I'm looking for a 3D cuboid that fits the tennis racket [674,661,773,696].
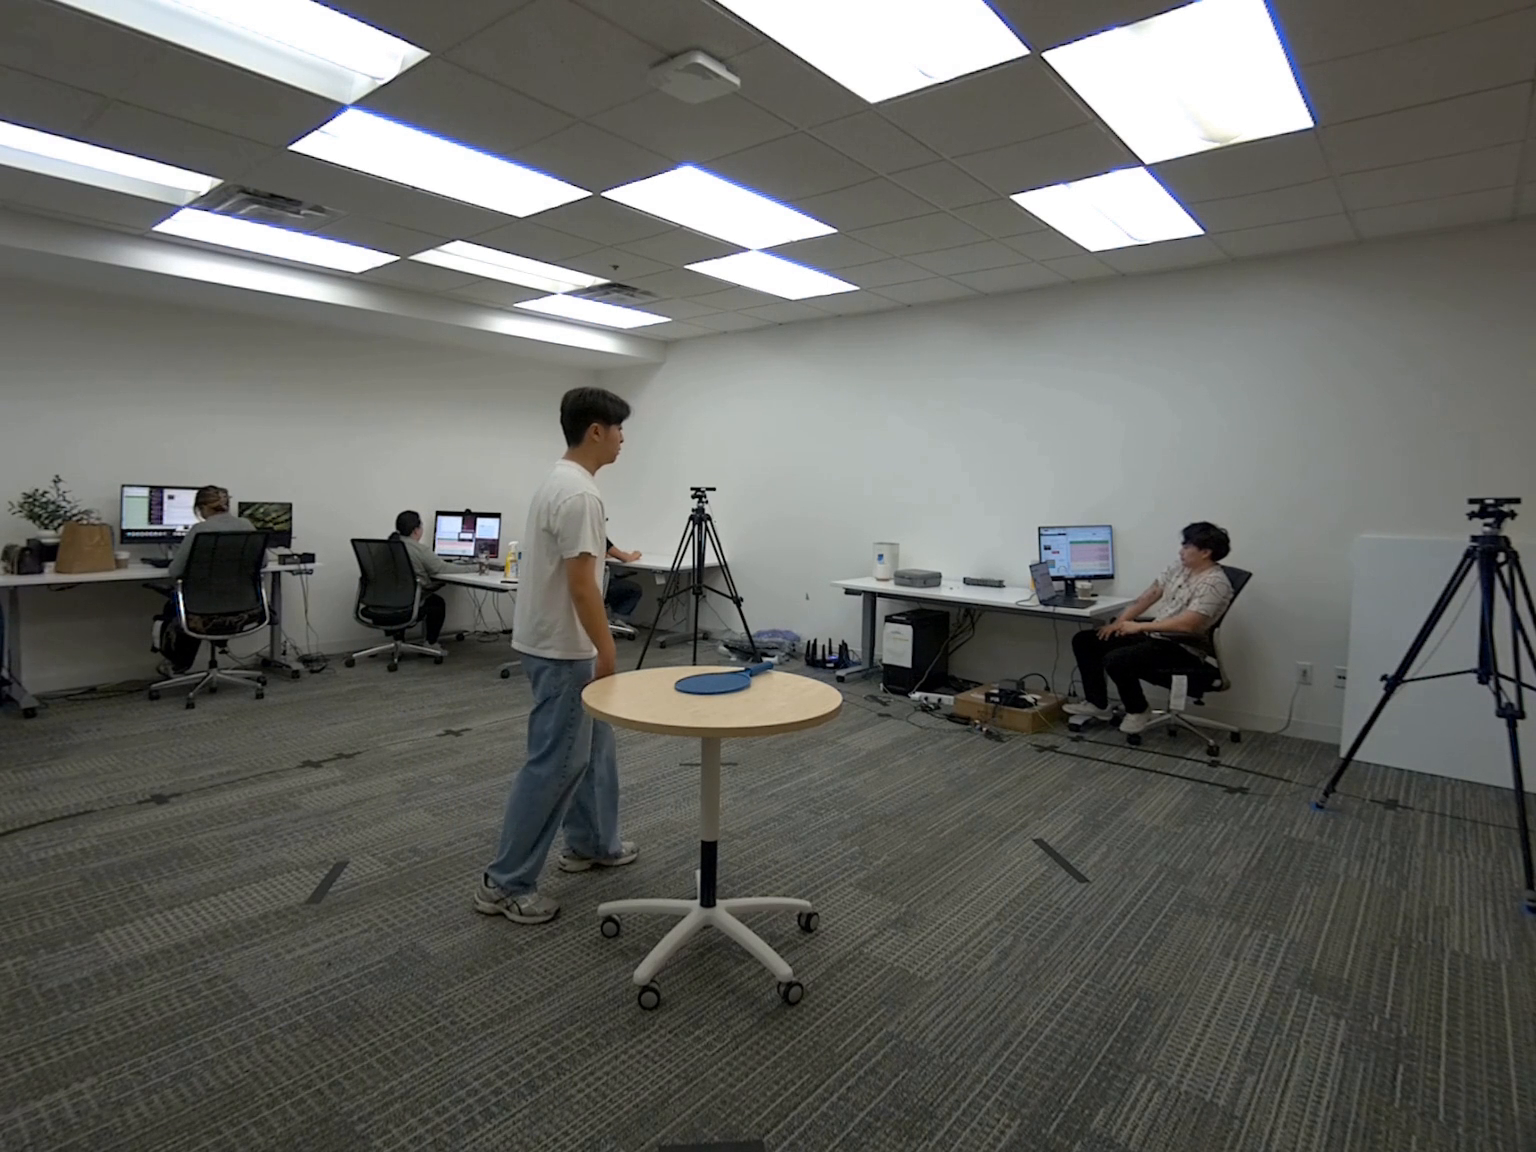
[{"bbox_3d":[-0.126,0.320,2.665,0.221,0.031,0.421,5,9,38],"label":"tennis racket"}]
